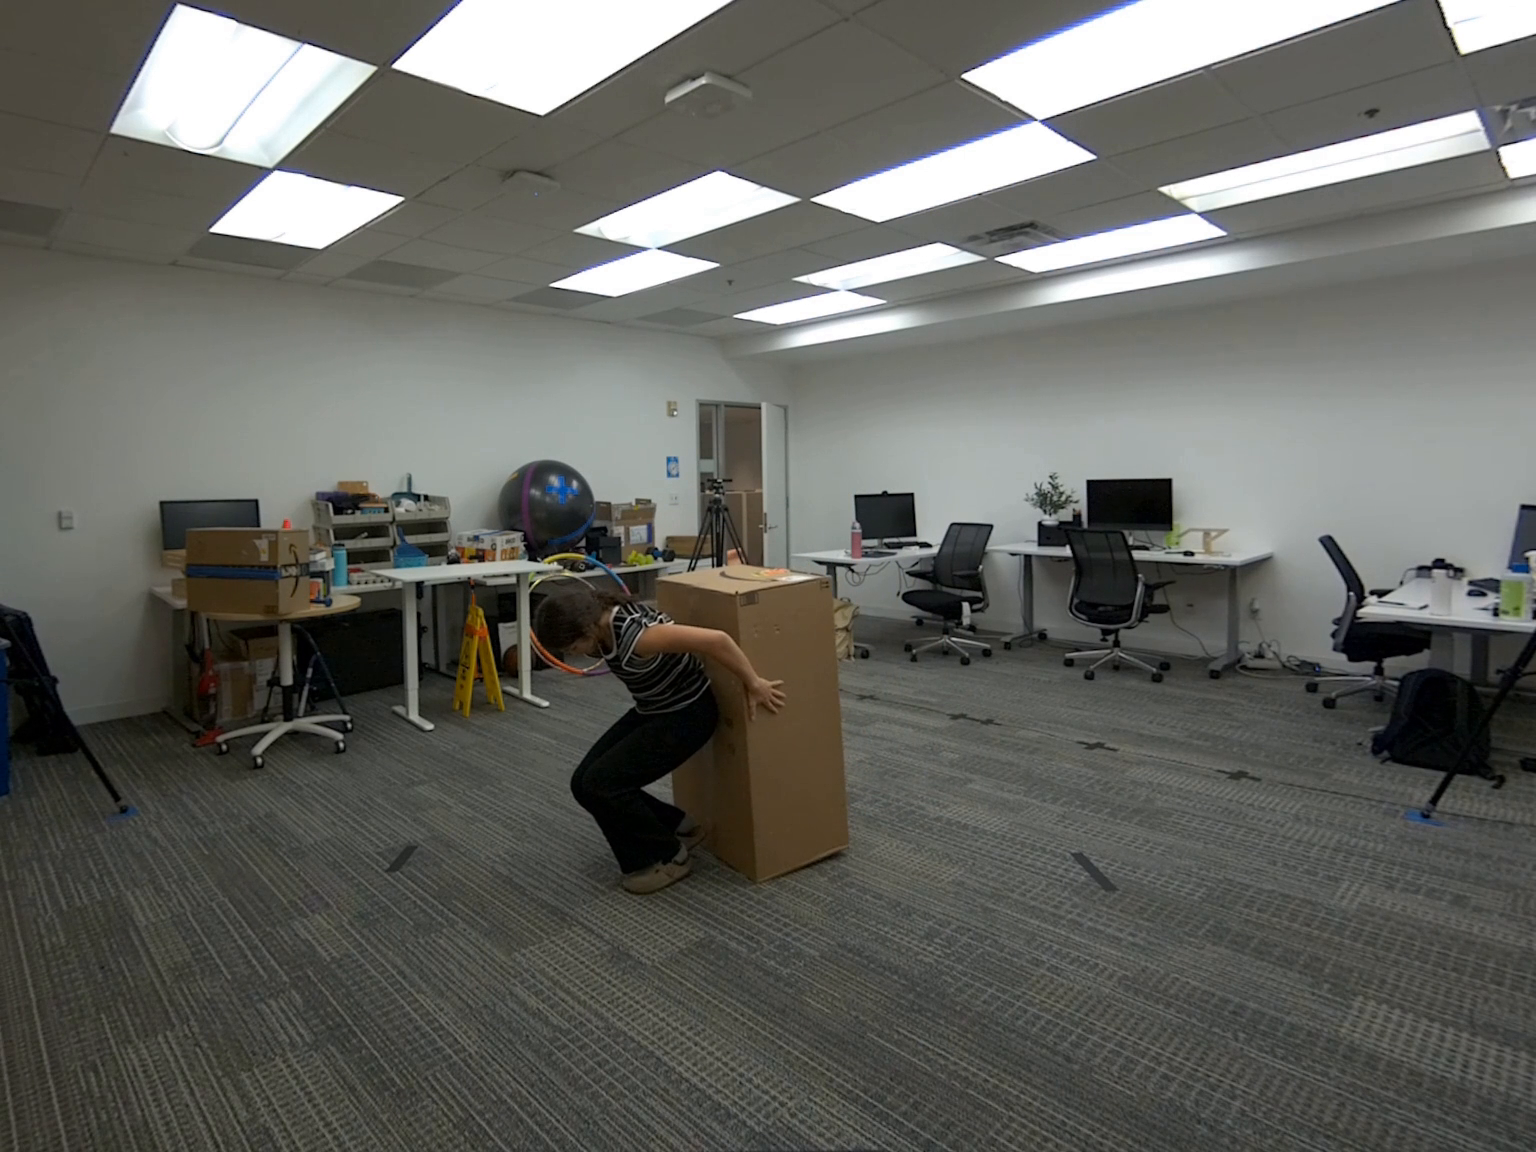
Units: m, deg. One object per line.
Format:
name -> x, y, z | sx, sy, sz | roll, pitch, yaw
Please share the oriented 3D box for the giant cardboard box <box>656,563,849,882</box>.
giant cardboard box -> -0.064, 0.510, 3.249 | 0.416, 1.020, 0.594 | -8, 7, -34
